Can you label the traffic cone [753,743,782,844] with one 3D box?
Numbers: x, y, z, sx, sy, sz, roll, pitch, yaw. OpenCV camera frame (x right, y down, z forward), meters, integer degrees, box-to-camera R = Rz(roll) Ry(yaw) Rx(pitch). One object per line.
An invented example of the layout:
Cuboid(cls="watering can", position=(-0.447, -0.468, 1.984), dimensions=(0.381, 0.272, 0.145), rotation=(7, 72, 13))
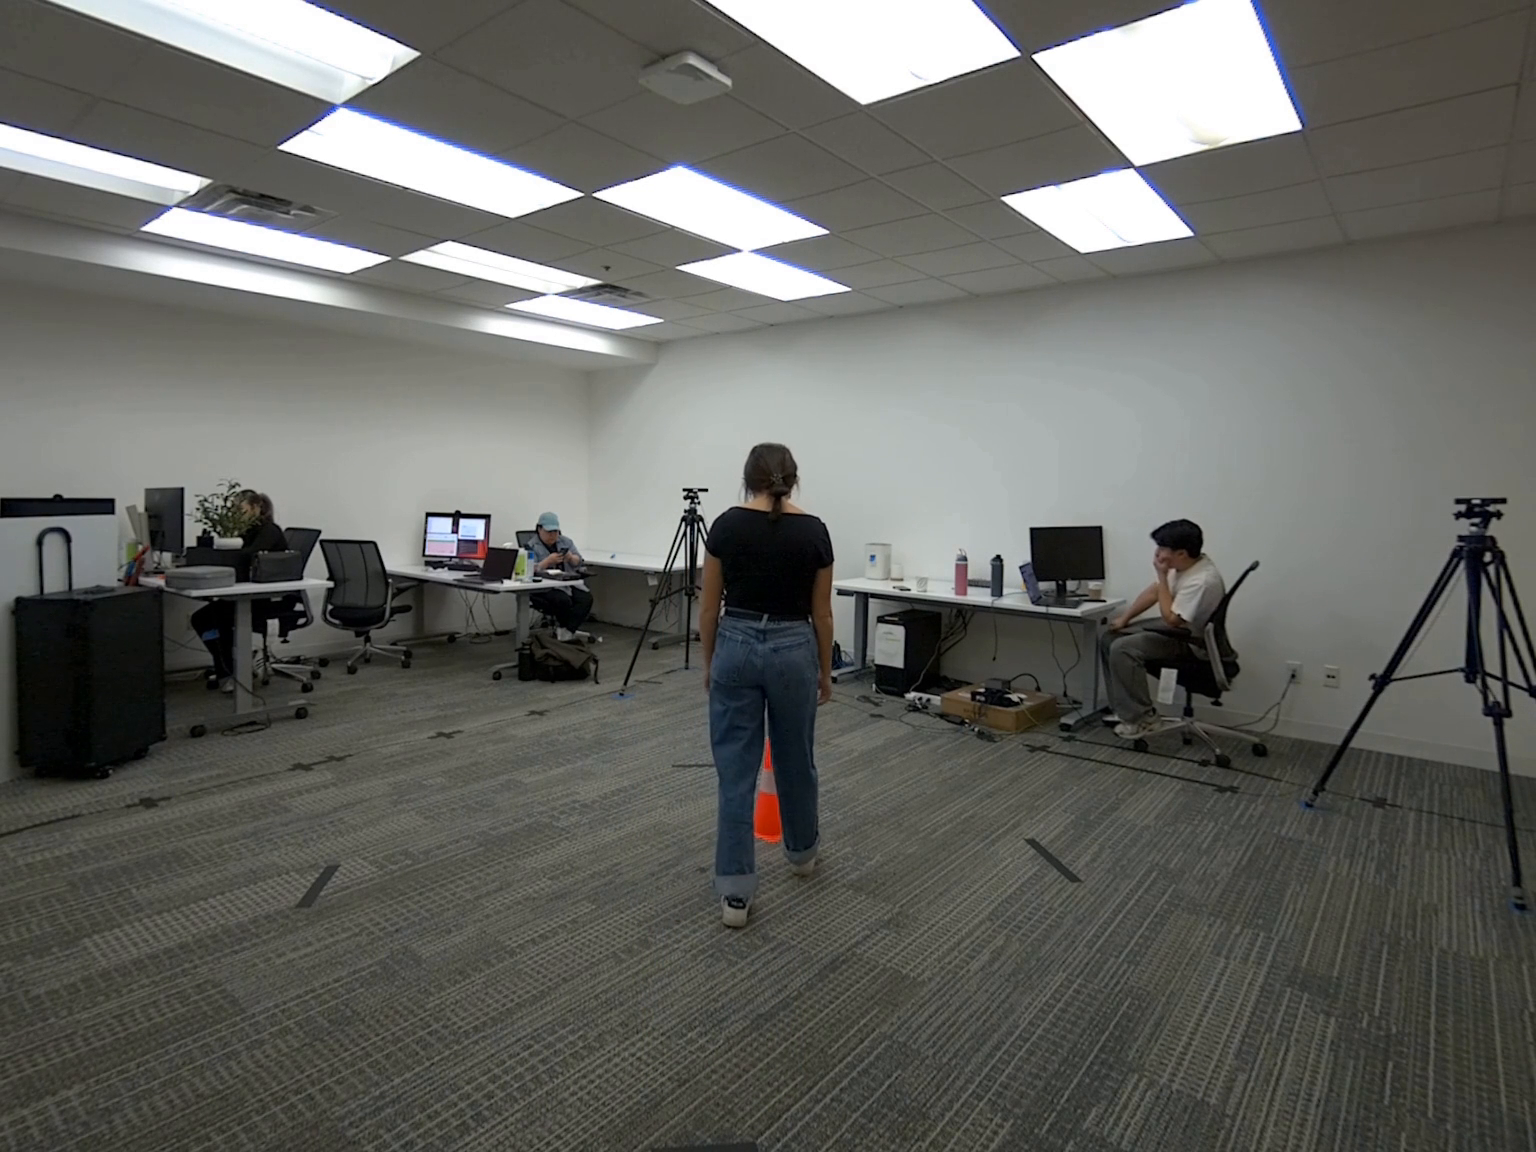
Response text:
Cuboid(cls="traffic cone", position=(0.009, 0.846, 3.488), dimensions=(0.210, 0.383, 0.199), rotation=(1, 2, 42))
